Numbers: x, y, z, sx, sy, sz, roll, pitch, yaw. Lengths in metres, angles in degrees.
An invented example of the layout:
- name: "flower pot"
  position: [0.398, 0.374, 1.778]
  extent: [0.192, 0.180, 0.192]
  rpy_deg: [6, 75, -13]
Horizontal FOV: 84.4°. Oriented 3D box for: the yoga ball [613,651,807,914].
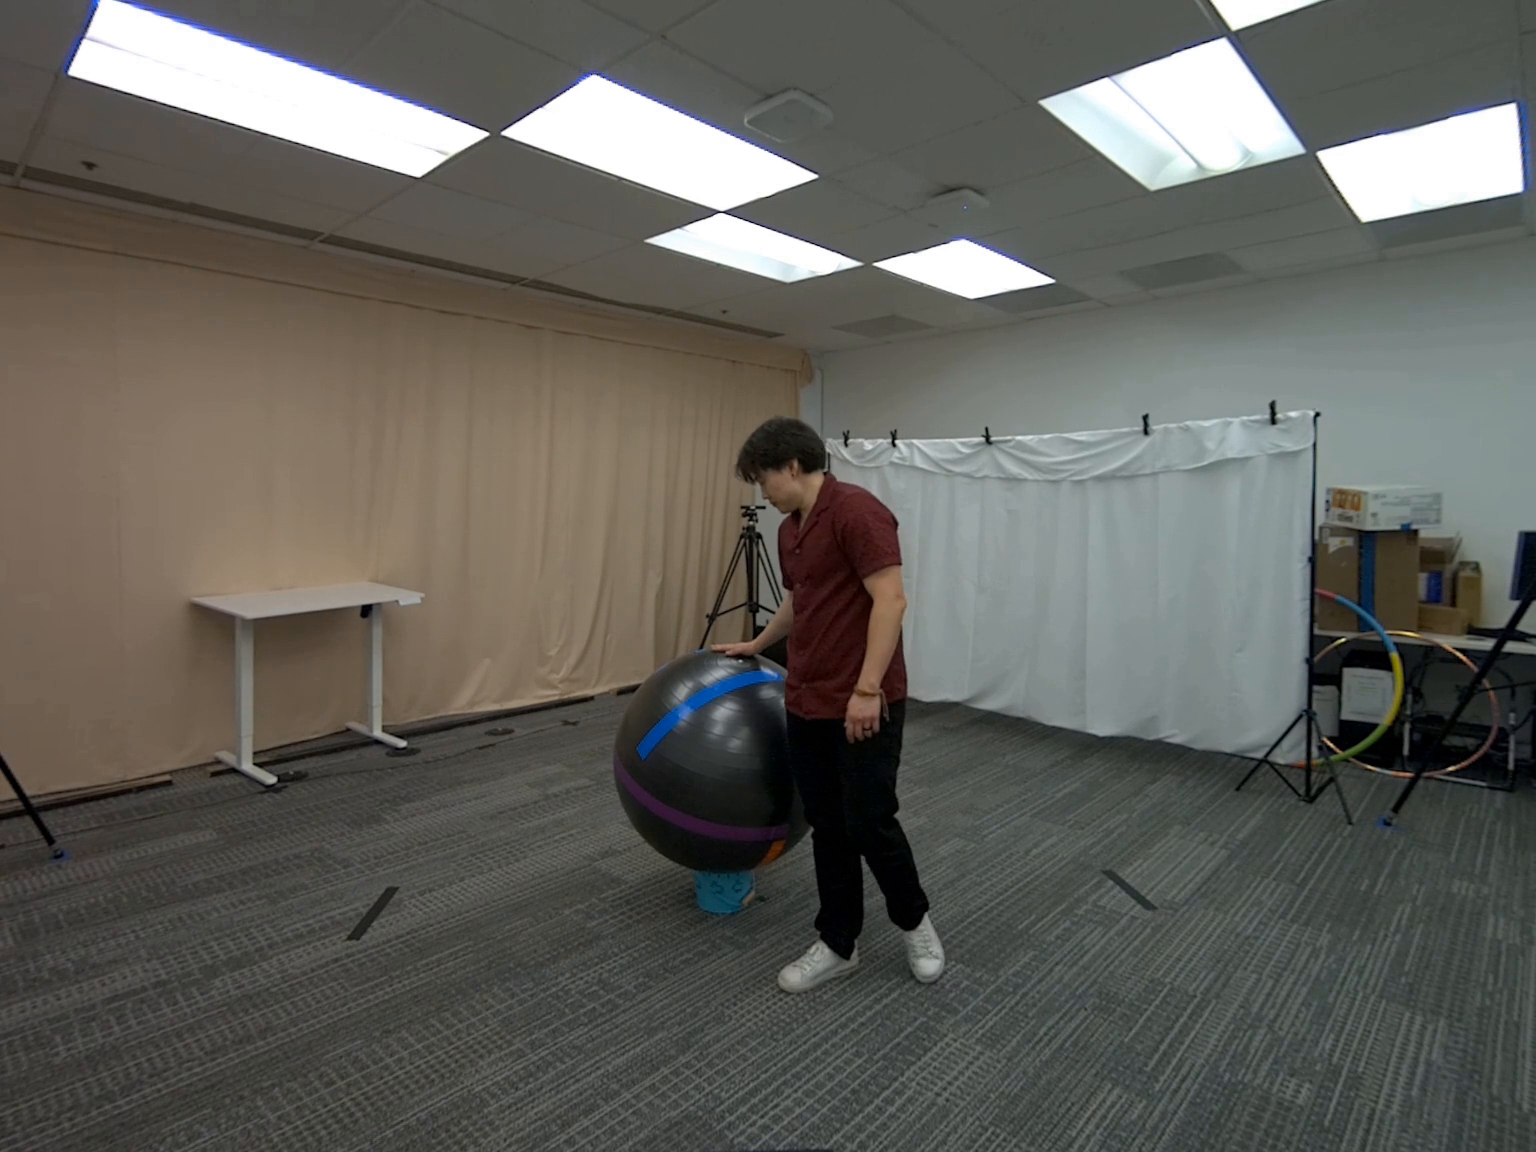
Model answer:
- name: "yoga ball"
  position: [-0.150, 0.635, 2.939]
  extent: [0.757, 0.756, 0.760]
  rpy_deg: [0, 4, -2]
